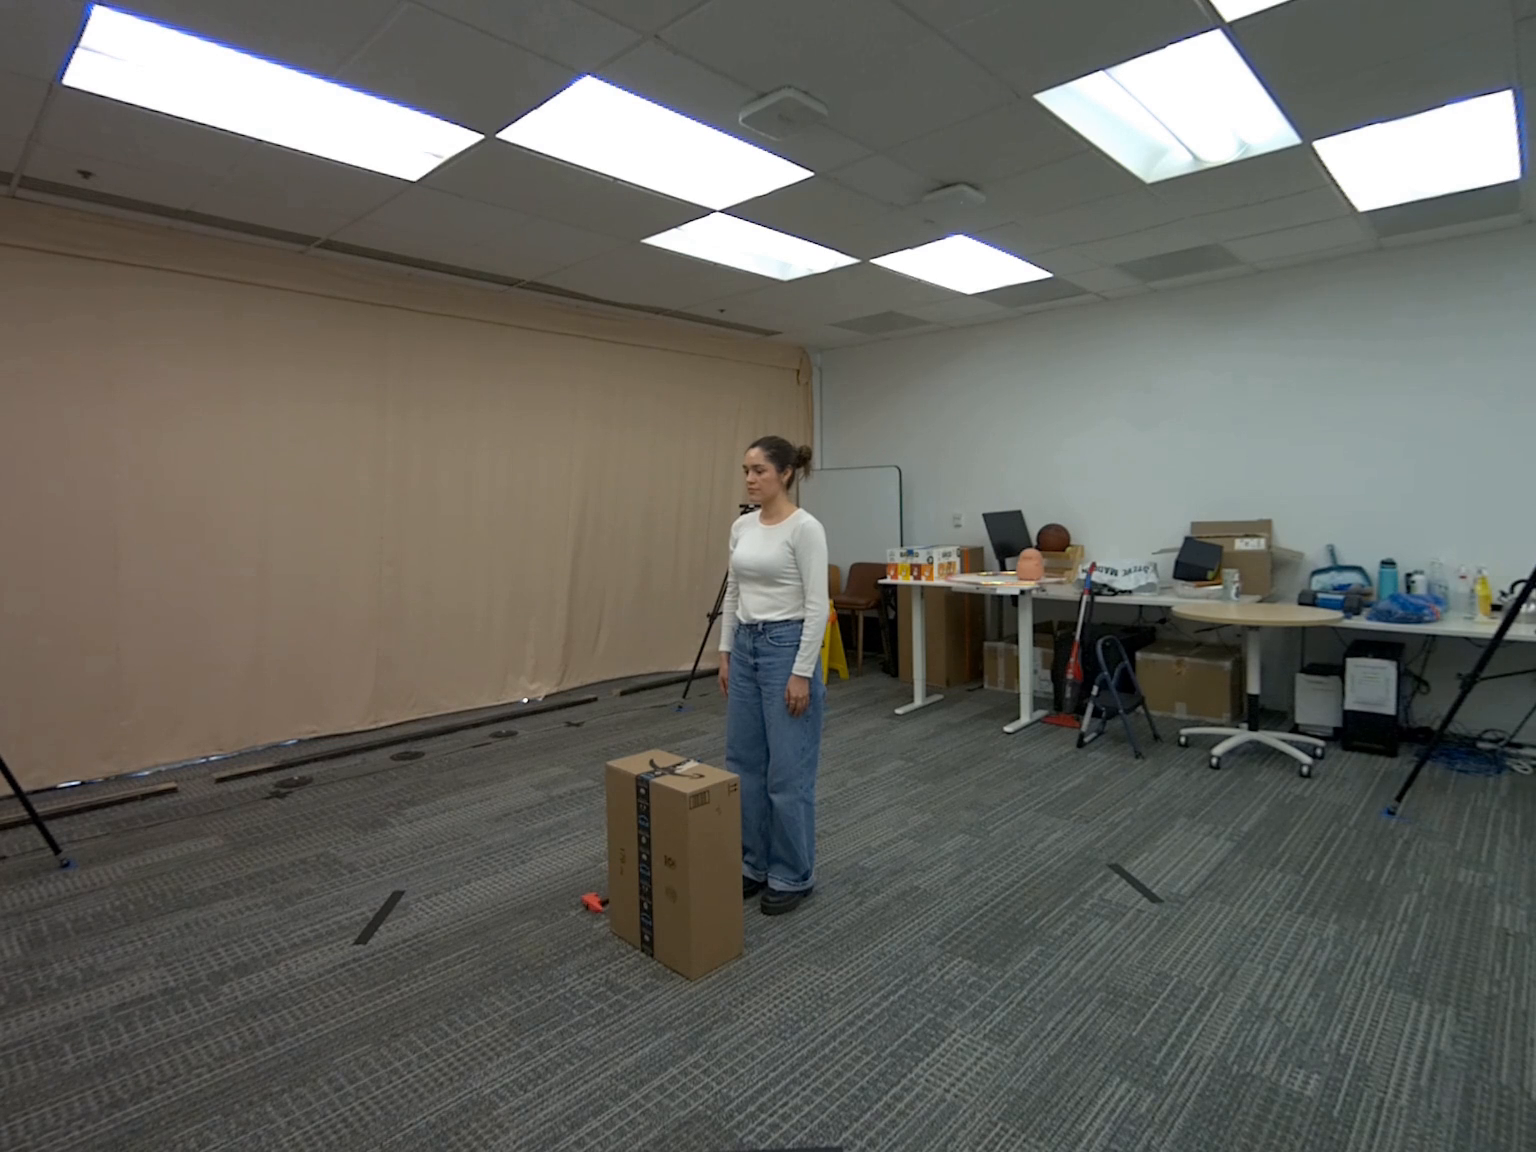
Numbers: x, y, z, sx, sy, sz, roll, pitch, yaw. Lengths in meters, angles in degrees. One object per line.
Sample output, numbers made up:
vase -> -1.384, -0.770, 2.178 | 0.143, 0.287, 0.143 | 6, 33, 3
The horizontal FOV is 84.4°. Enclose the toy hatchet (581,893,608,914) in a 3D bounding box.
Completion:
toy hatchet -> -0.563, 1.139, 3.027 | 0.135, 0.029, 0.263 | 0, 4, 30
